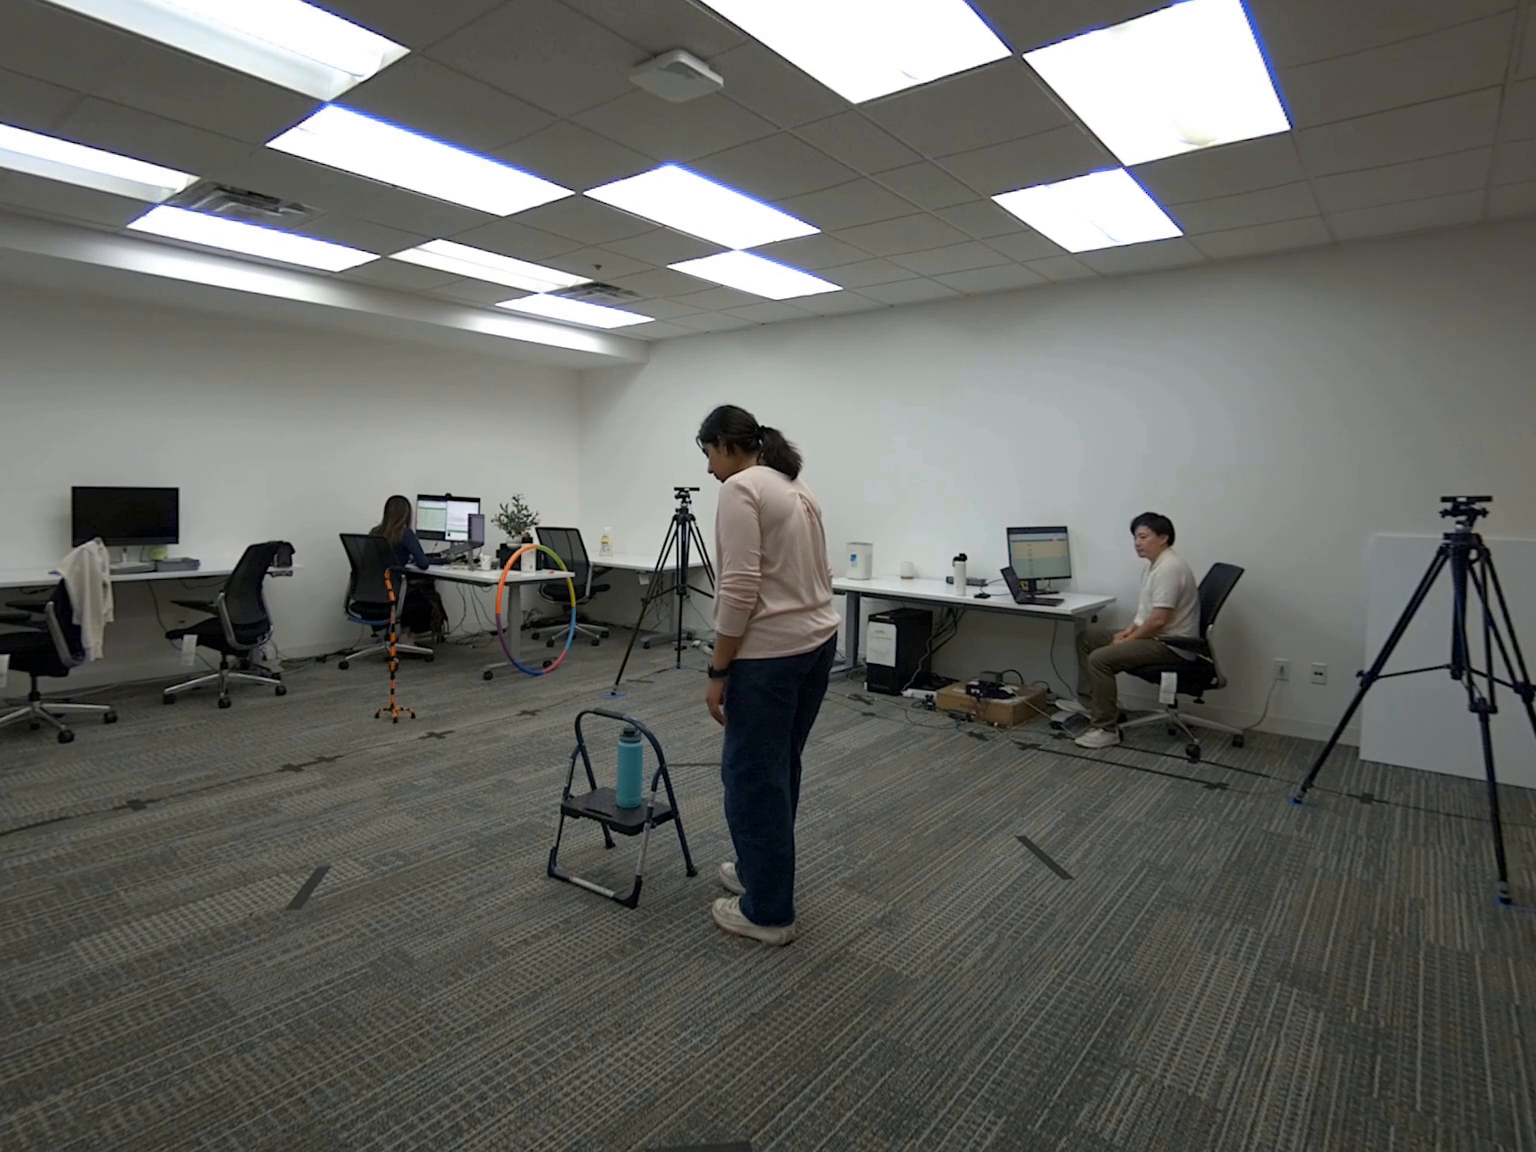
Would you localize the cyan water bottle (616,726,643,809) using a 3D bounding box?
[{"bbox_3d":[-0.499,0.672,3.025,0.092,0.283,0.092,3,0,-2],"label":"cyan water bottle"}]
